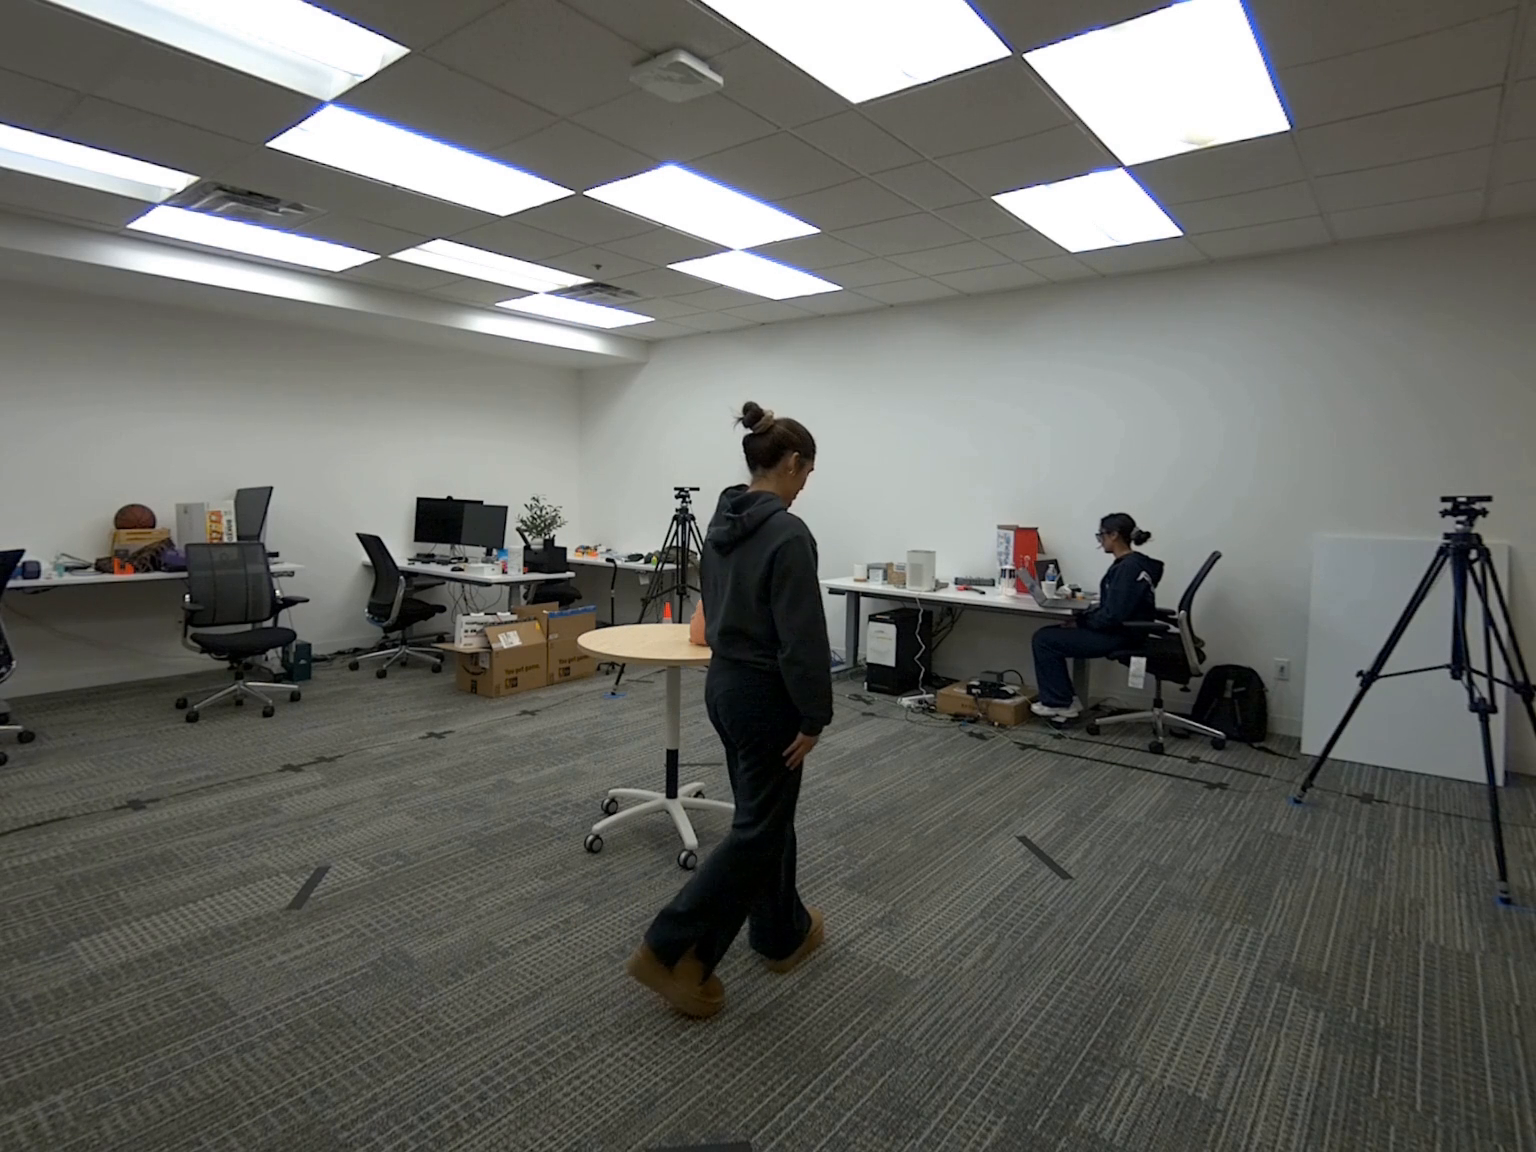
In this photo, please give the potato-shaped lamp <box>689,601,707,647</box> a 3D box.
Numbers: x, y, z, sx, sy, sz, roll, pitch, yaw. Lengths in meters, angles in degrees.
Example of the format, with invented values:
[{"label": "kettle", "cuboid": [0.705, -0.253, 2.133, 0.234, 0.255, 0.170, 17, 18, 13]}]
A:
[{"label": "potato-shaped lamp", "cuboid": [-0.222, 0.166, 3.317, 0.177, 0.197, 0.160, 6, 5, 39]}]
